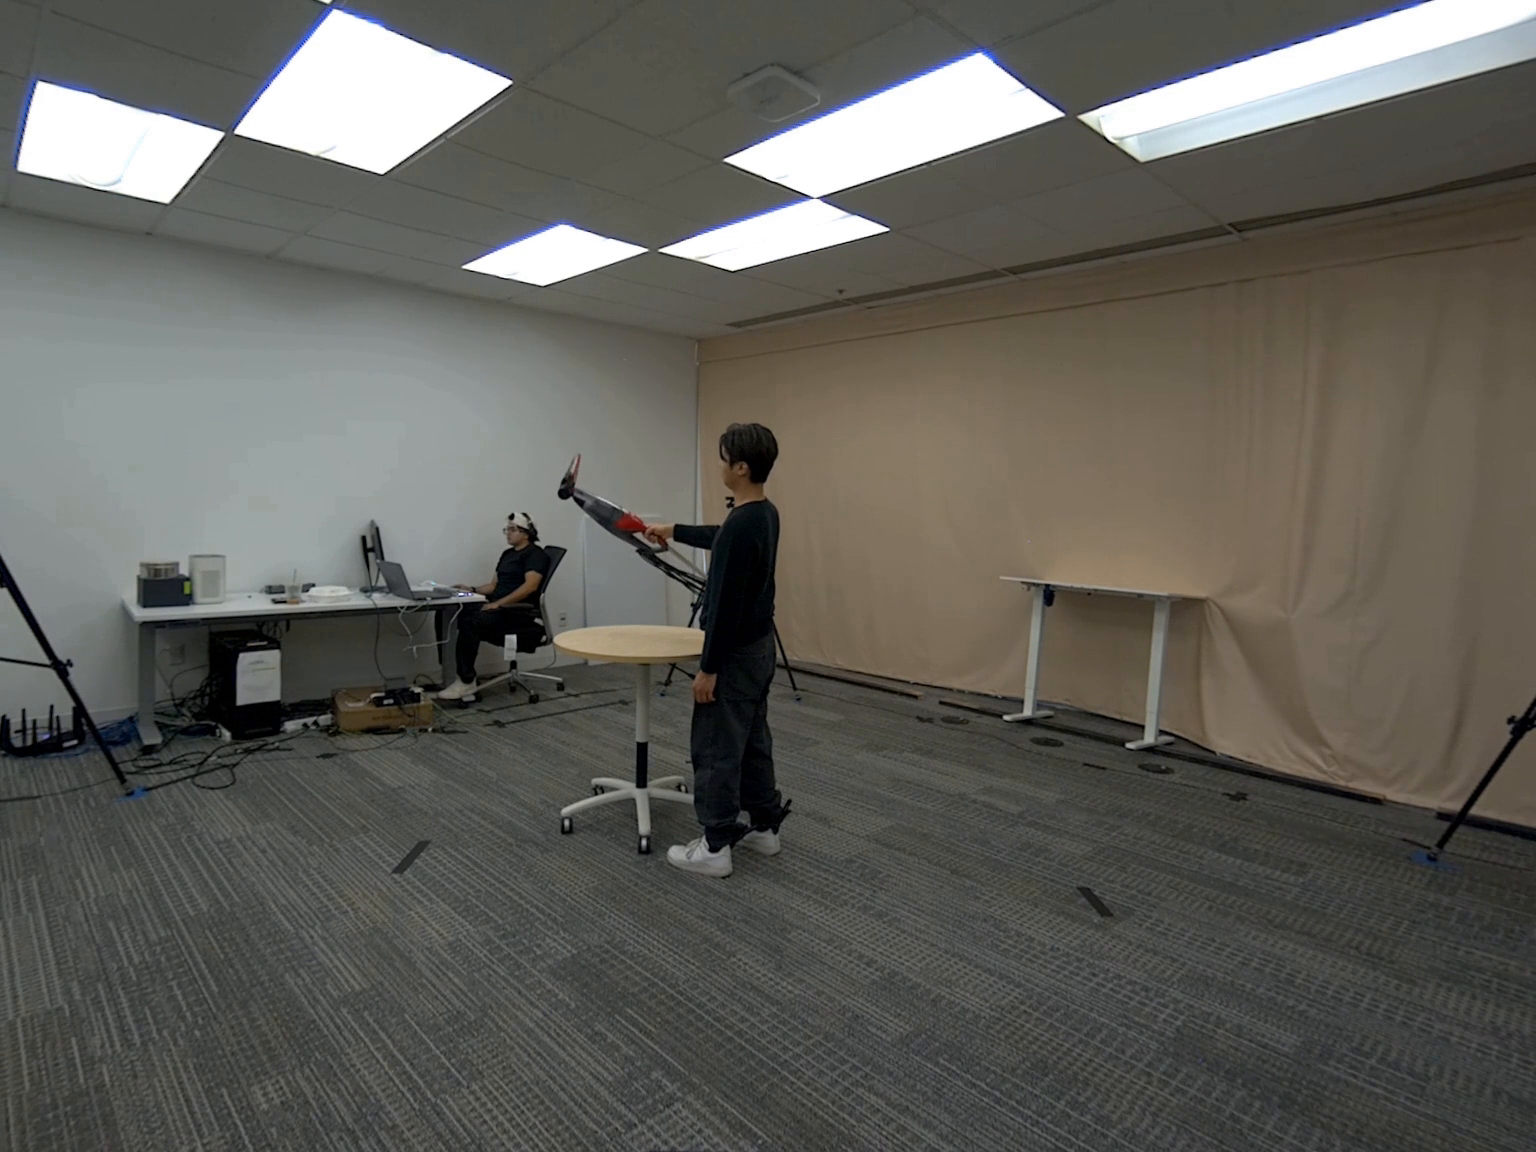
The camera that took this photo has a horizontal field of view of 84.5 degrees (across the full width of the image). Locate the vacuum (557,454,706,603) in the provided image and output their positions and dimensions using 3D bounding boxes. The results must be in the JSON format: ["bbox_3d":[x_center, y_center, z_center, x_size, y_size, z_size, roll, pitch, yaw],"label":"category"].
[{"bbox_3d":[-0.479,-0.088,3.623,1.027,0.144,0.257,42,17,-21],"label":"vacuum"}]
